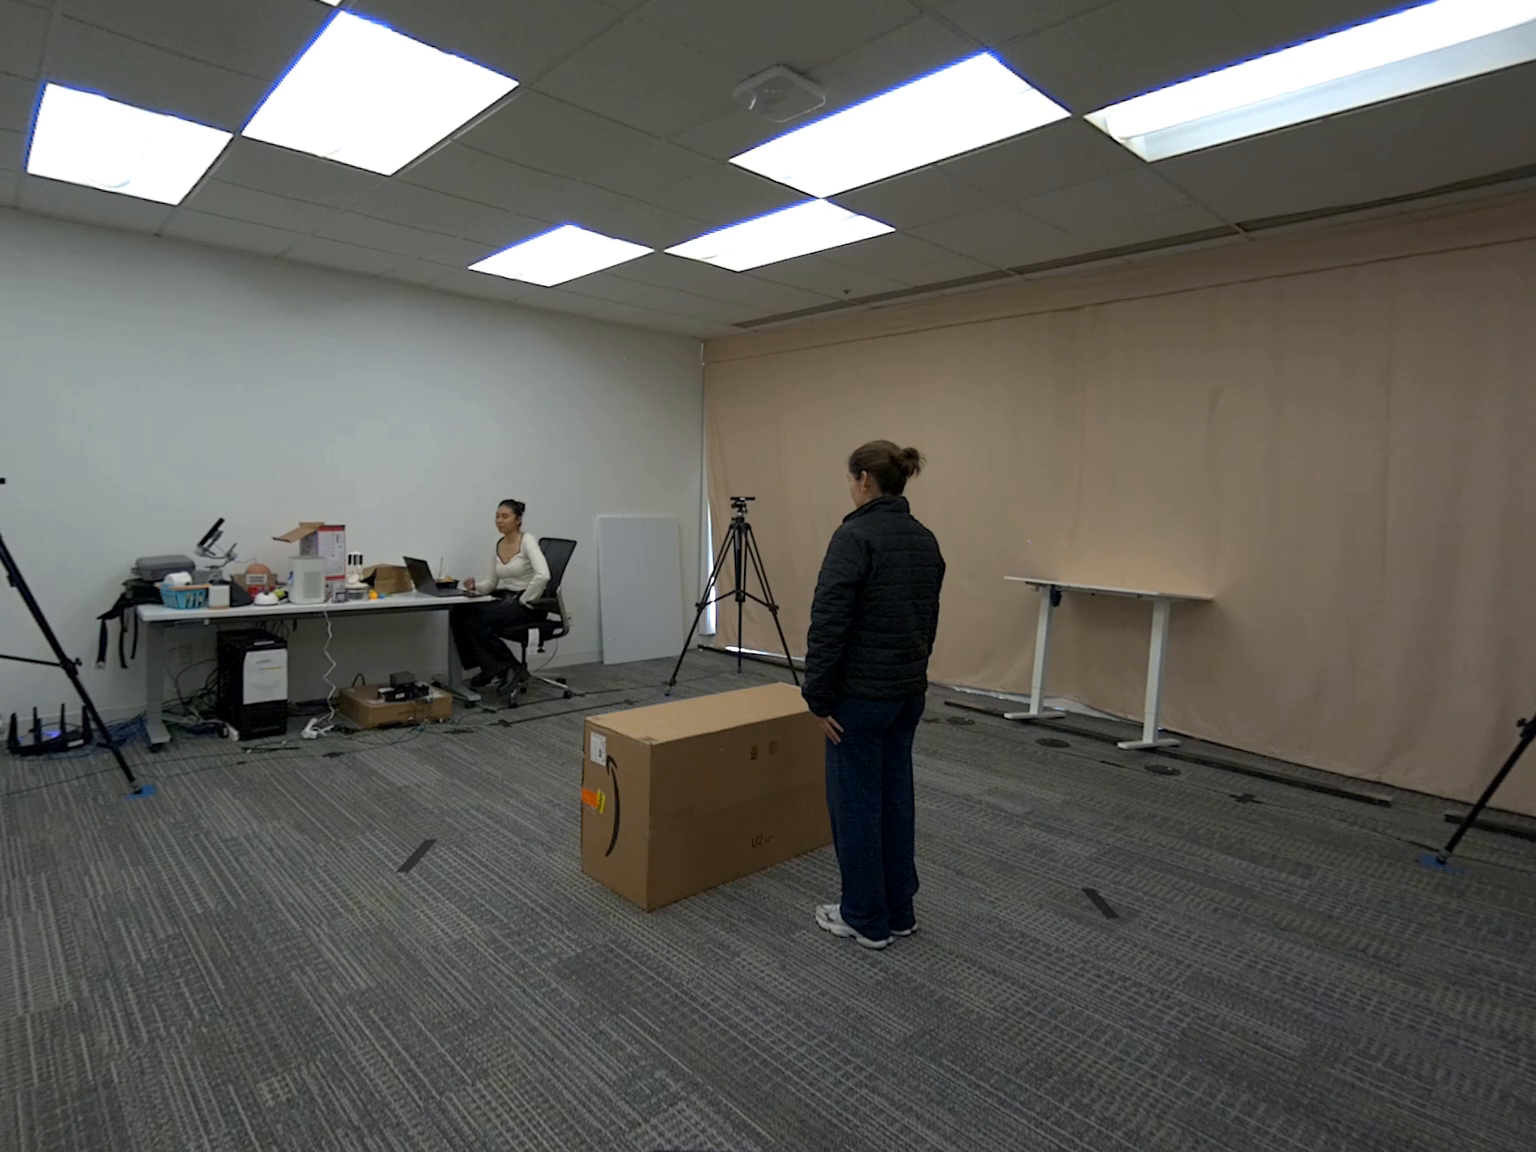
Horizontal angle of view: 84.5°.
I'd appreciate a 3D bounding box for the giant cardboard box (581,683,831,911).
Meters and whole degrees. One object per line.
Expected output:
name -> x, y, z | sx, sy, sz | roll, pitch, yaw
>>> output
giant cardboard box -> -0.183, 0.805, 3.280 | 1.003, 0.582, 0.458 | -2, 7, -42
